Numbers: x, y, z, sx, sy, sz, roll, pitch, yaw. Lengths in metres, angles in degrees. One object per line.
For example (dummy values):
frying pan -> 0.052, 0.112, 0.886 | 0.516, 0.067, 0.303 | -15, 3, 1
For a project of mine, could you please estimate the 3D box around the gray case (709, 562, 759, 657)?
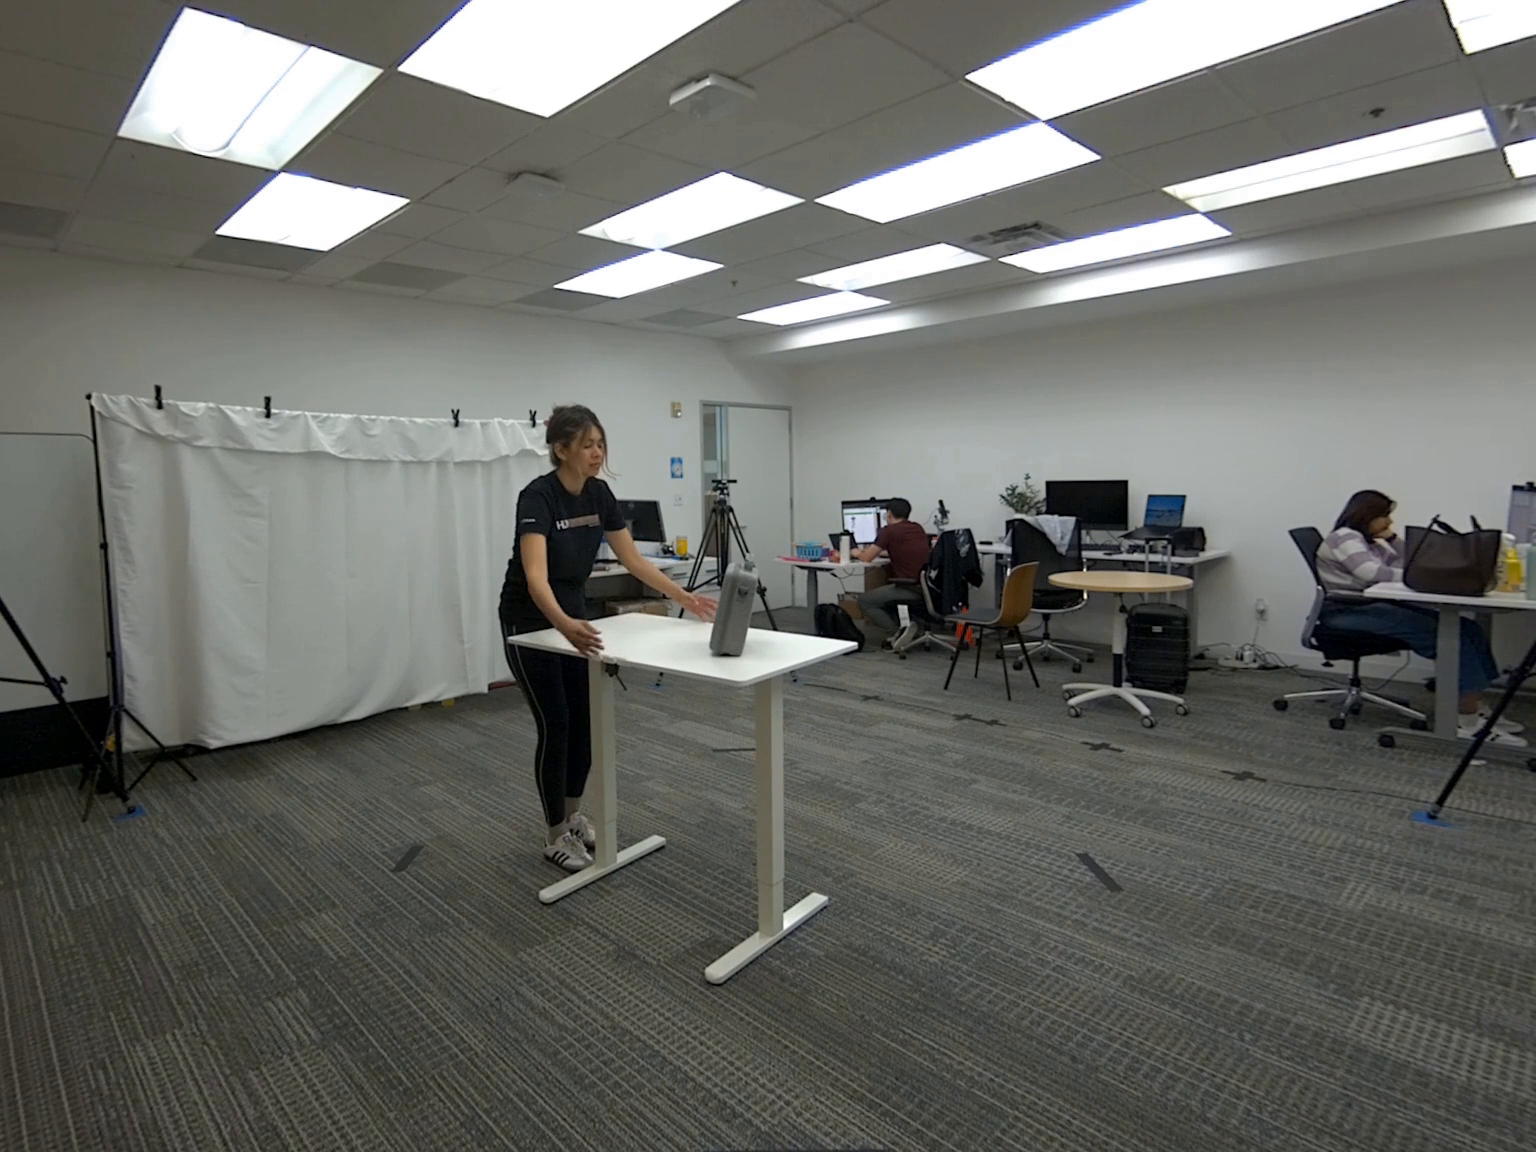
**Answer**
gray case -> -0.091, 0.090, 2.619 | 0.104, 0.259, 0.259 | 10, 8, -3
